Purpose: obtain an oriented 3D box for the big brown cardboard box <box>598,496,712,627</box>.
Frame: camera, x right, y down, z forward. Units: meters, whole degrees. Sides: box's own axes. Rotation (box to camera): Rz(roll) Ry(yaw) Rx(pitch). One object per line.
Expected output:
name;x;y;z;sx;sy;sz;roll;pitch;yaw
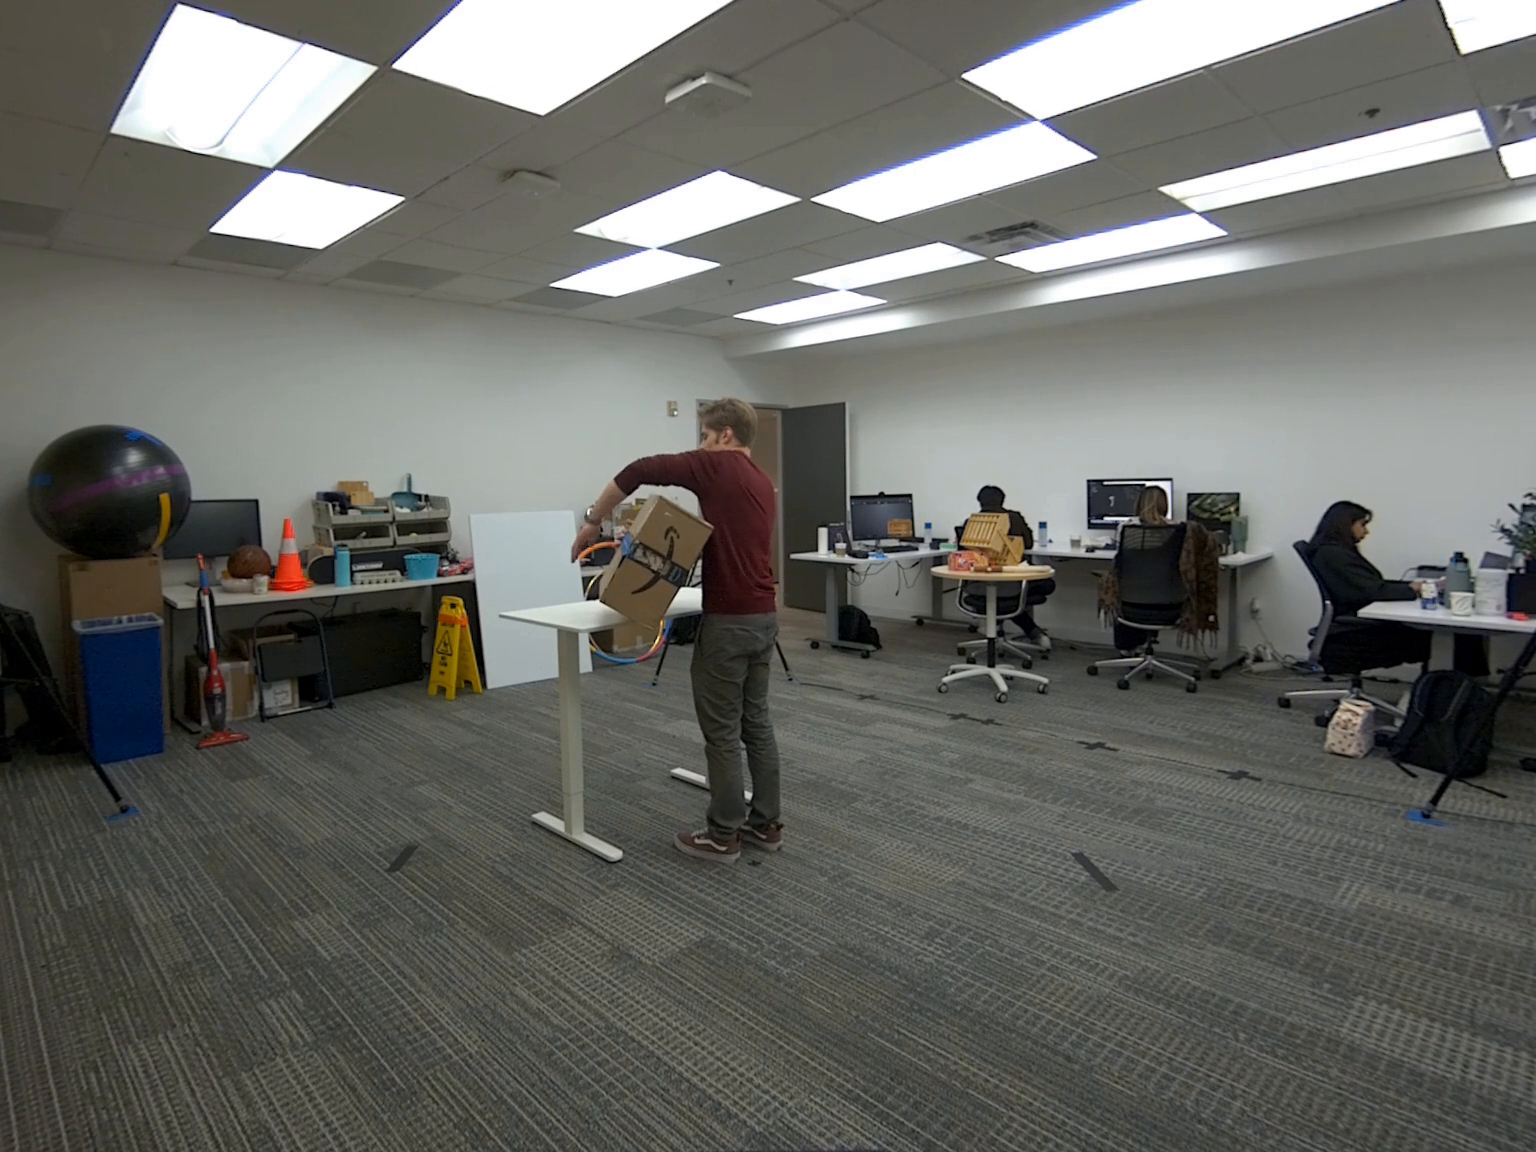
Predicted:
big brown cardboard box;-0.426;-0.073;3.178;0.230;0.418;0.596;30;-2;-11
